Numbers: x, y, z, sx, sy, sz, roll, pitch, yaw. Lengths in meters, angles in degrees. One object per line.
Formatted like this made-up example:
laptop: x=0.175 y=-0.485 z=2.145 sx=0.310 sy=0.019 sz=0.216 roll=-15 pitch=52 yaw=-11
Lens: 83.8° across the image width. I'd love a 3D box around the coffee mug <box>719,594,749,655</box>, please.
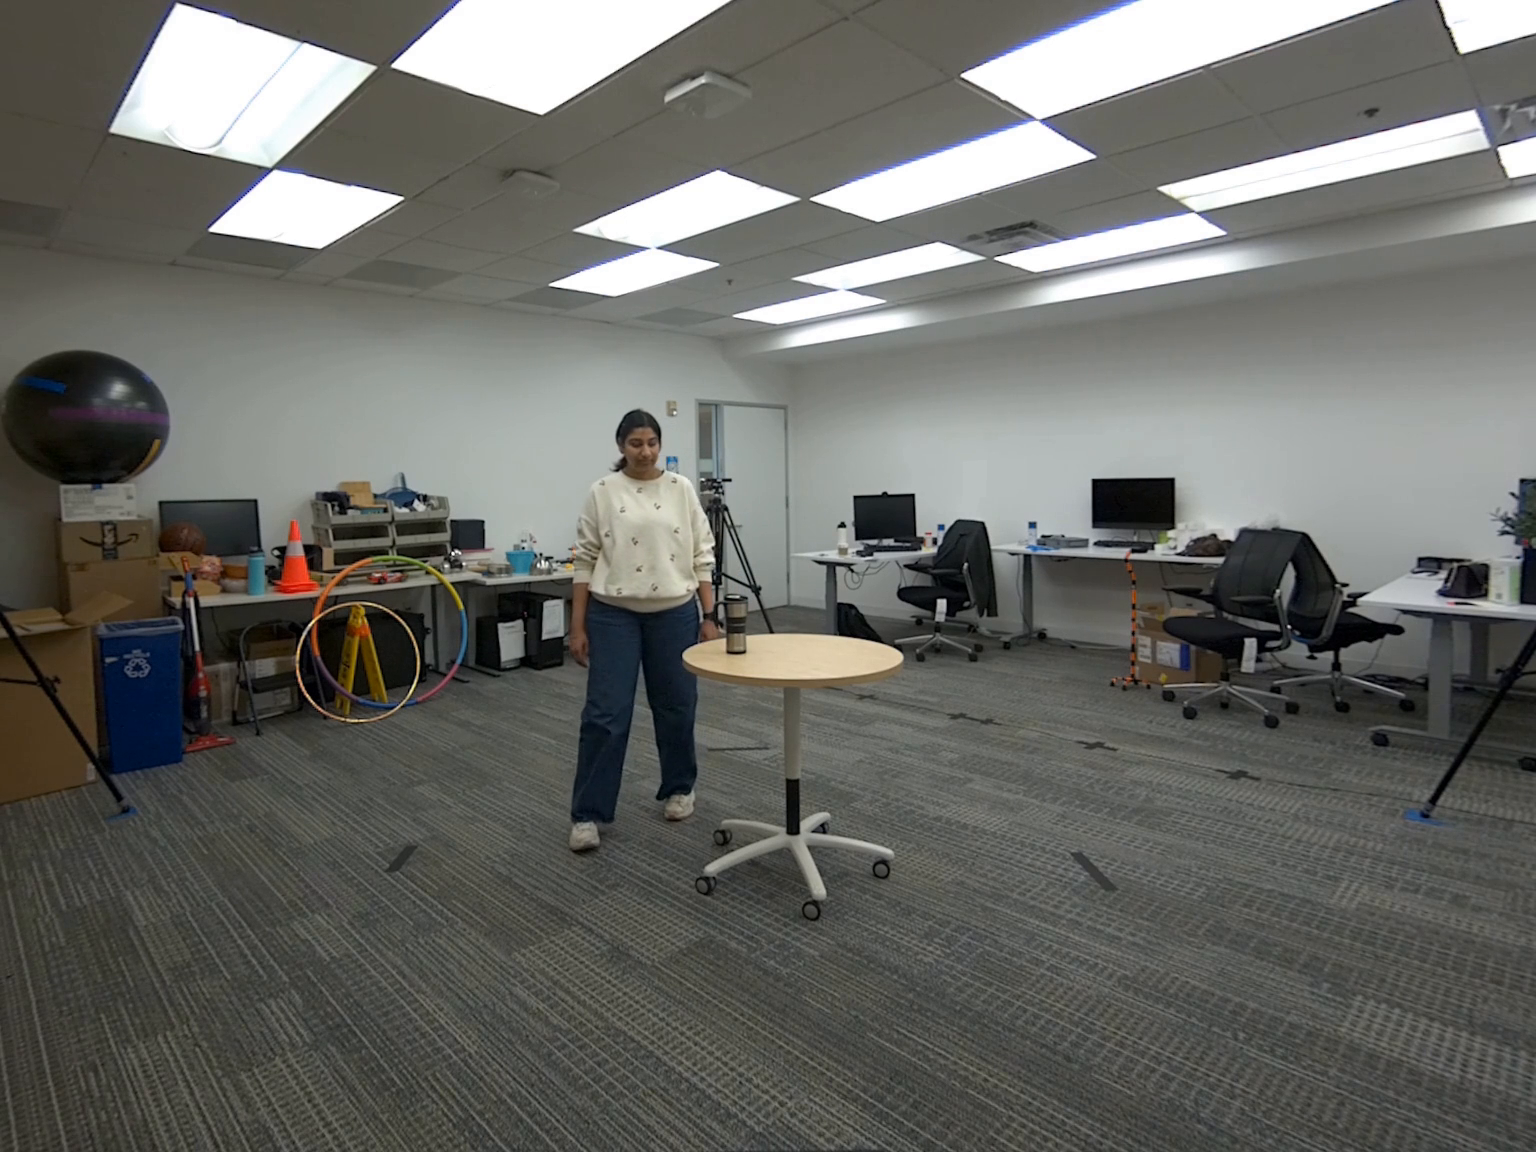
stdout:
coffee mug: x=-0.132 y=0.171 z=3.019 sx=0.124 sy=0.202 sz=0.086 roll=2 pitch=6 yaw=21
